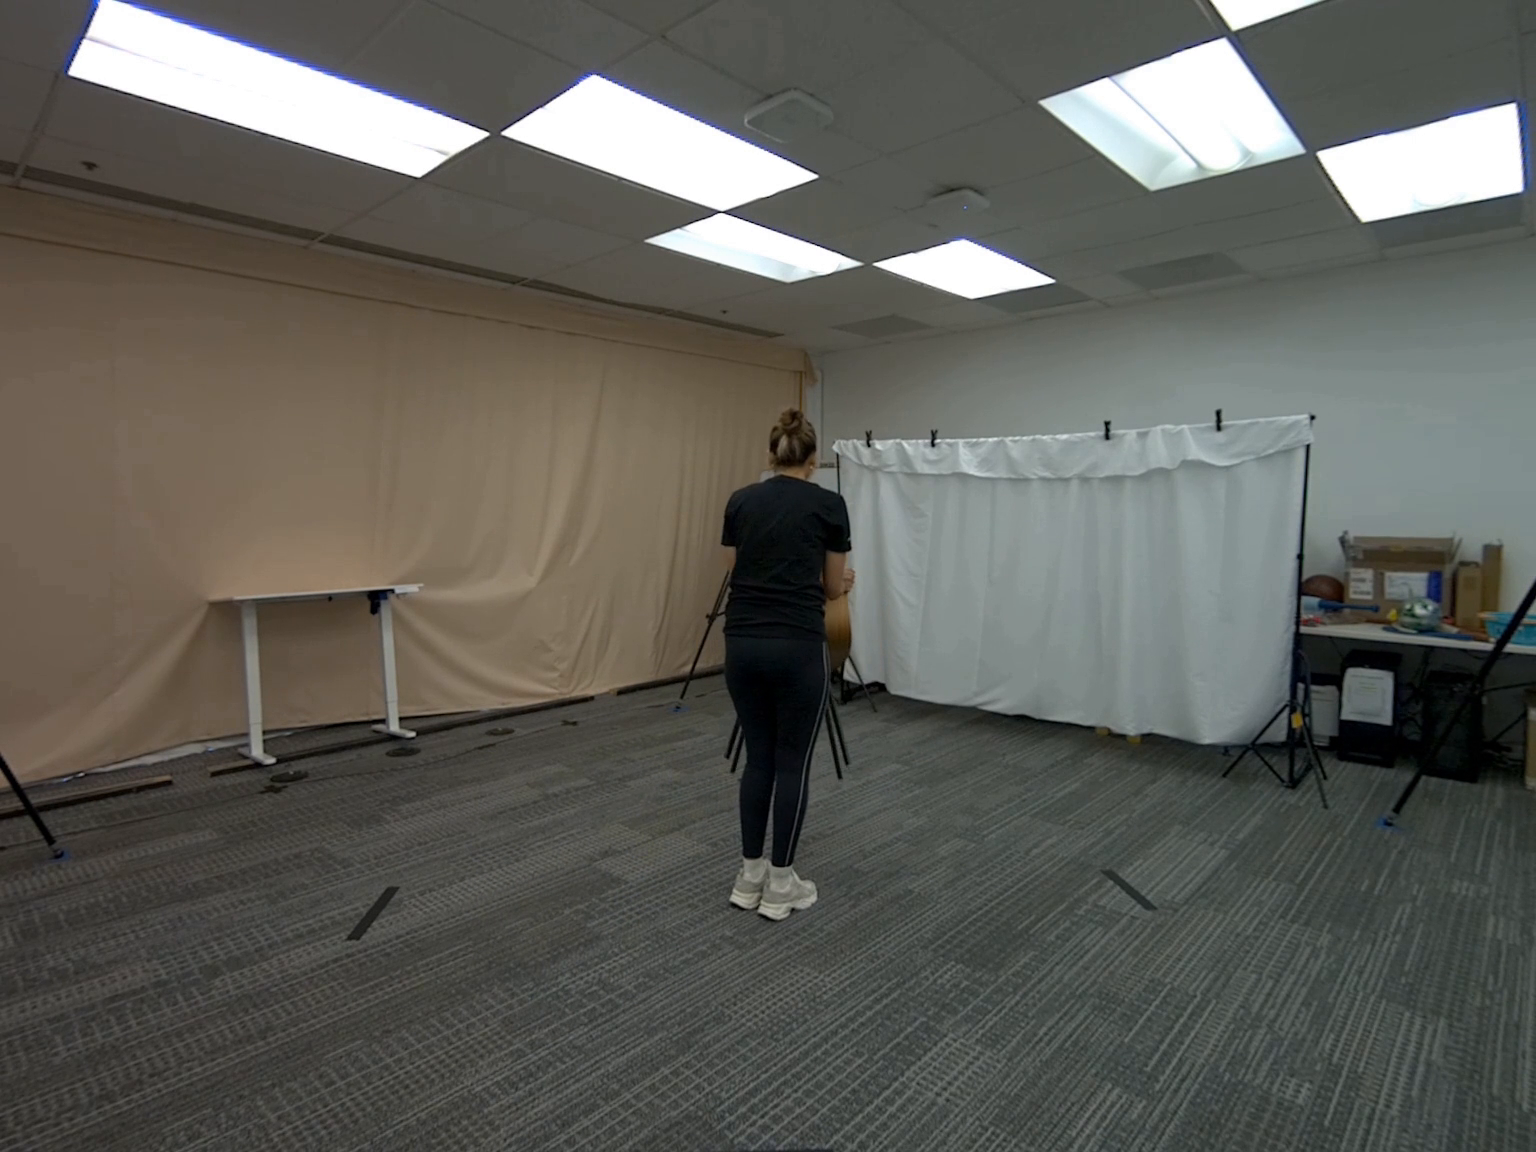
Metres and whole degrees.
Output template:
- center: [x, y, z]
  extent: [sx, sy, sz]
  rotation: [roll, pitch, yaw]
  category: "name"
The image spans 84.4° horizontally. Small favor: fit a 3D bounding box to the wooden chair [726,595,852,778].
- center: [0.080, 0.342, 3.349]
  extent: [0.480, 0.886, 0.516]
  rotation: [0, -16, 3]
  category: "wooden chair"
